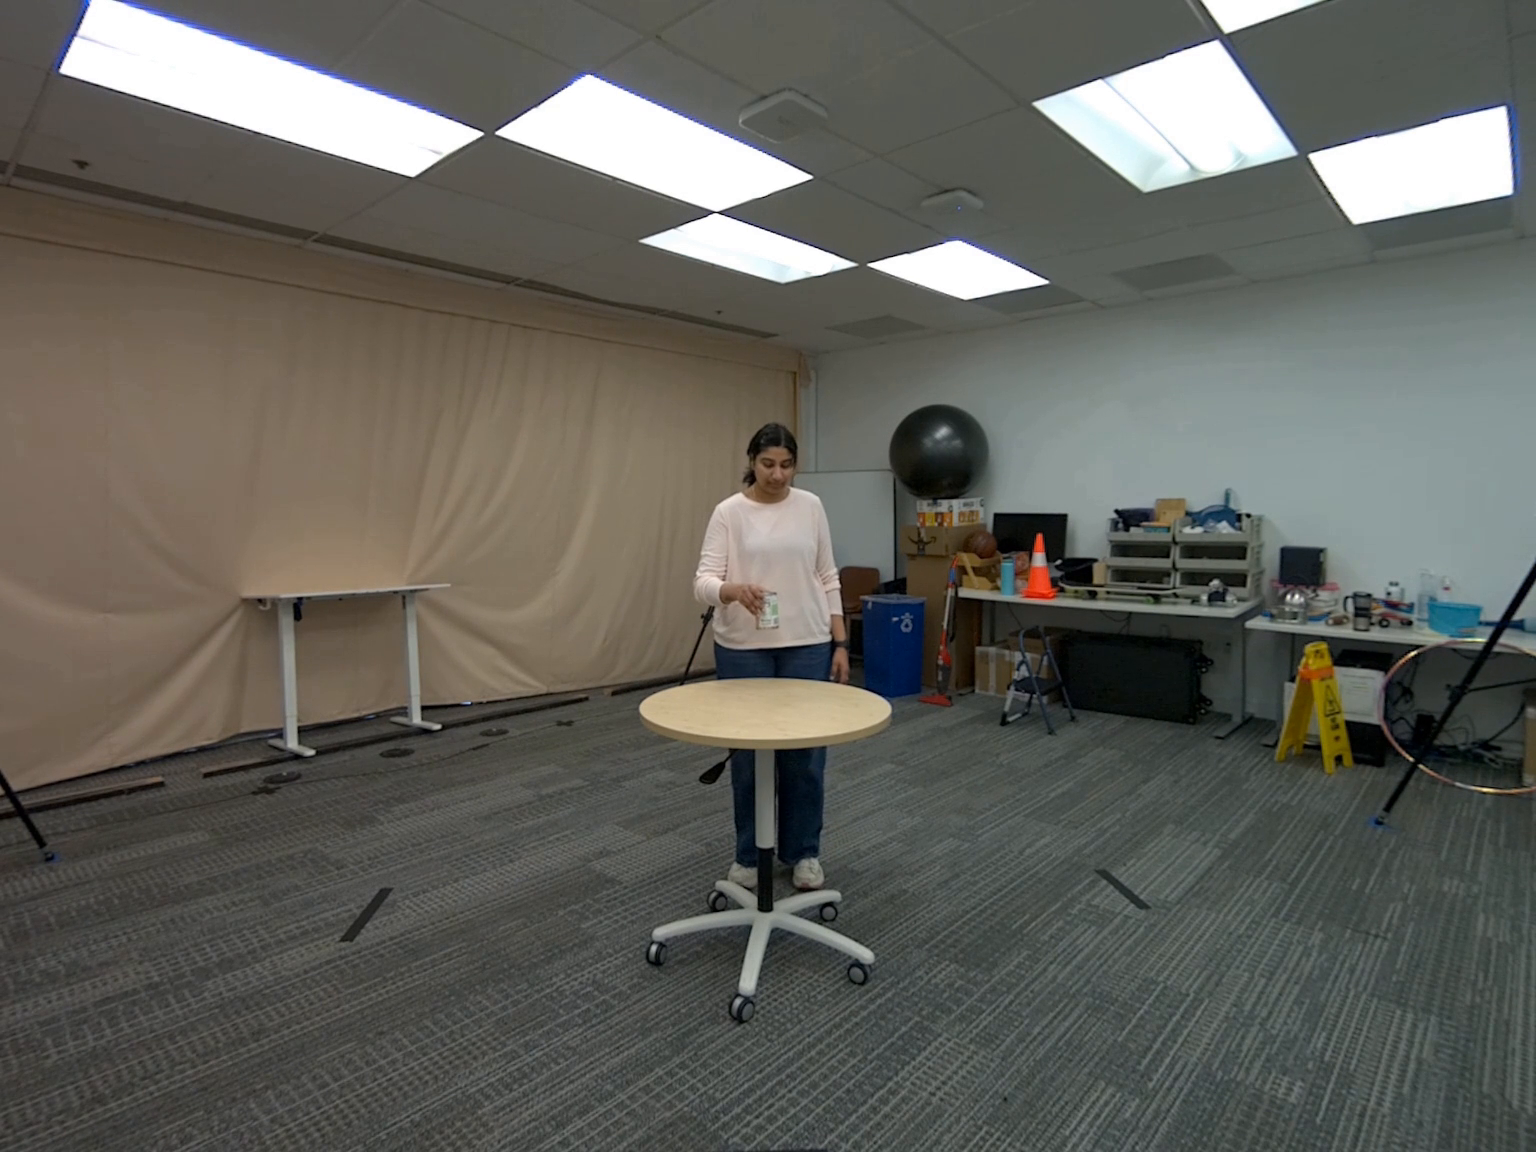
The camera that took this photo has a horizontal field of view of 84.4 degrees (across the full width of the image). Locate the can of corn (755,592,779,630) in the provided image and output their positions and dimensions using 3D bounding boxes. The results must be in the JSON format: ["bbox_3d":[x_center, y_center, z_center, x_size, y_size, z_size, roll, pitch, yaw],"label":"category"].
[{"bbox_3d":[-0.009,0.109,2.698,0.074,0.111,0.074,-2,3,-2],"label":"can of corn"}]
